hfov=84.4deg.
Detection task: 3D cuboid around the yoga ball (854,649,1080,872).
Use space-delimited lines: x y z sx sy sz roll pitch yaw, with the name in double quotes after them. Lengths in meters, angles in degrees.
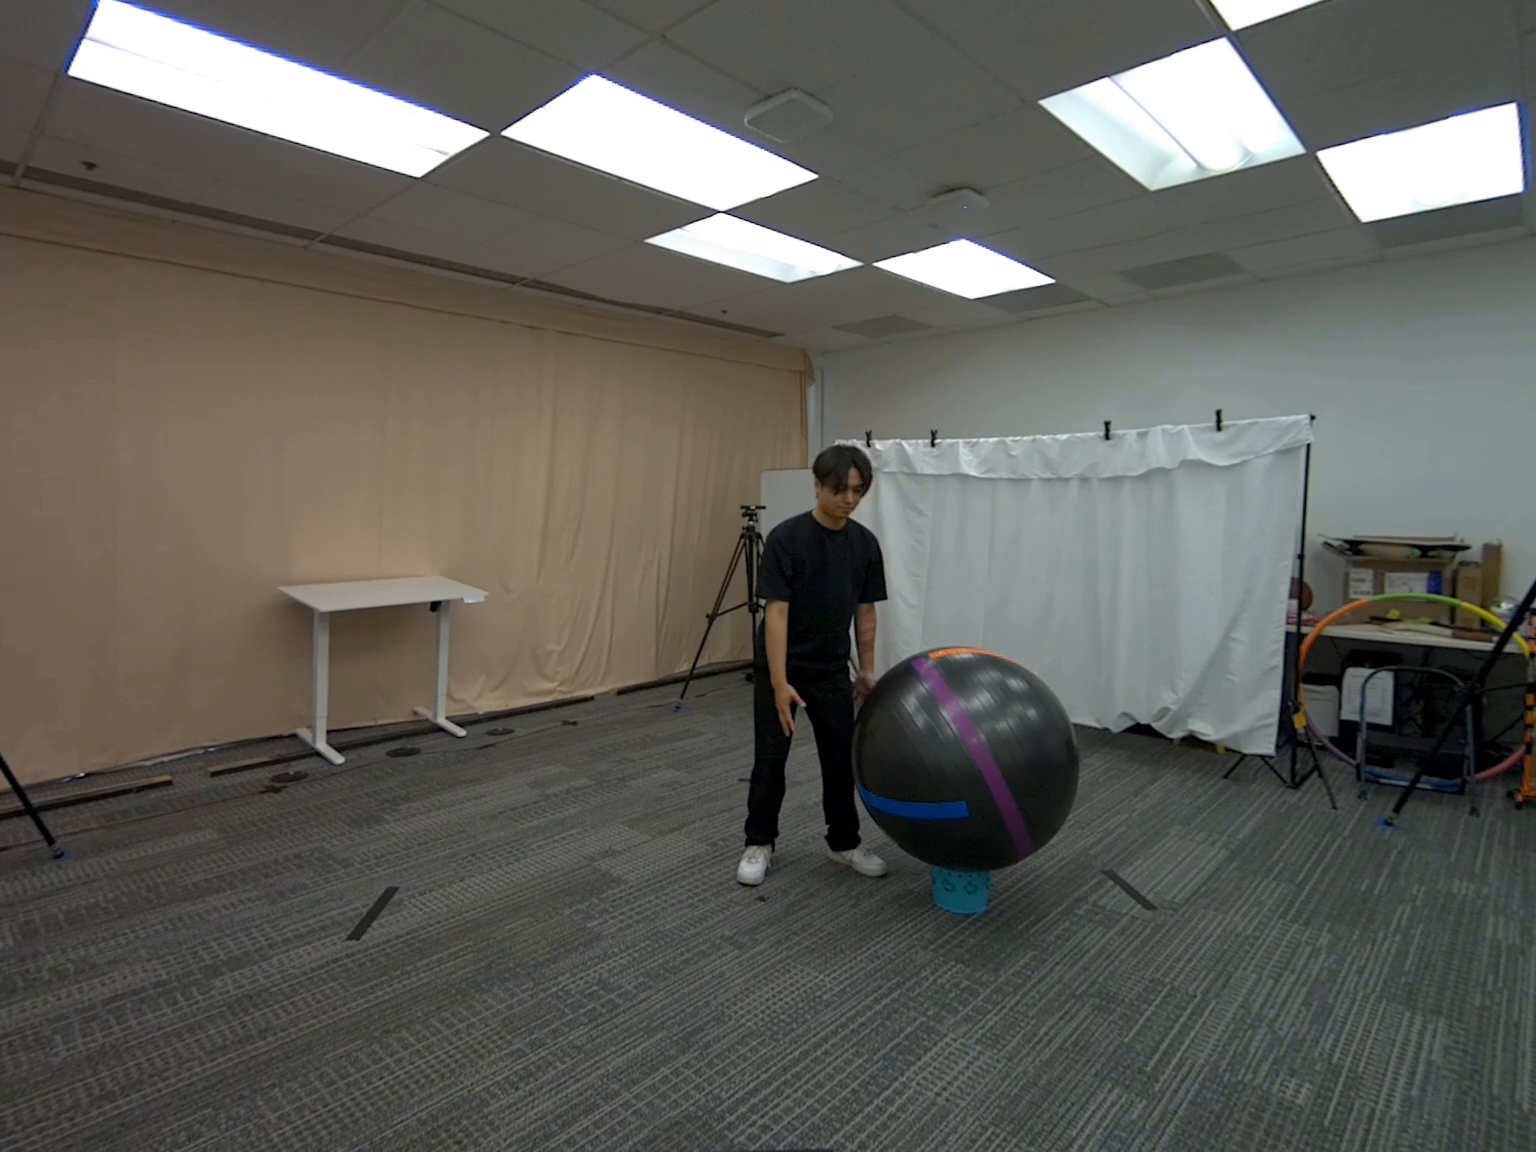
0.689 0.639 2.940 0.757 0.756 0.760 0 4 -2 "yoga ball"
